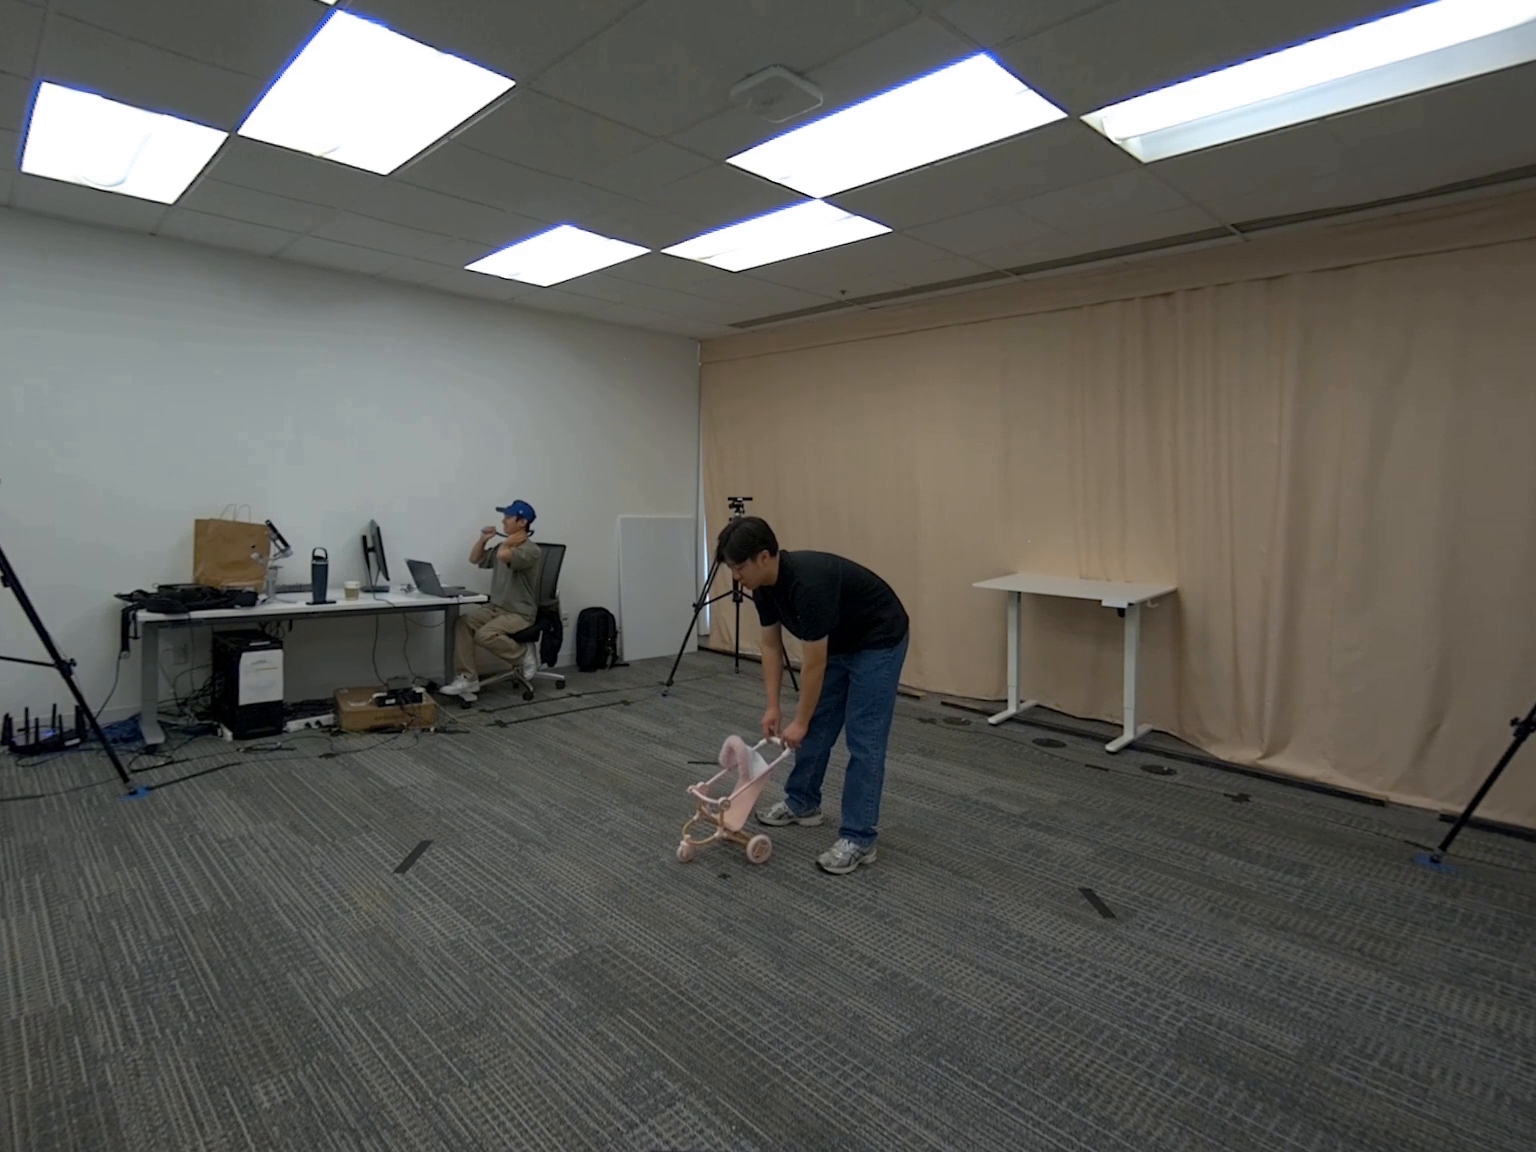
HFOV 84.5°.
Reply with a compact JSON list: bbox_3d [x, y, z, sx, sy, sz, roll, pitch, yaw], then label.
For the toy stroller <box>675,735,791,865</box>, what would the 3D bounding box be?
[{"bbox_3d":[-0.155,0.867,3.290,0.334,0.536,0.287,18,-4,-24],"label":"toy stroller"}]
